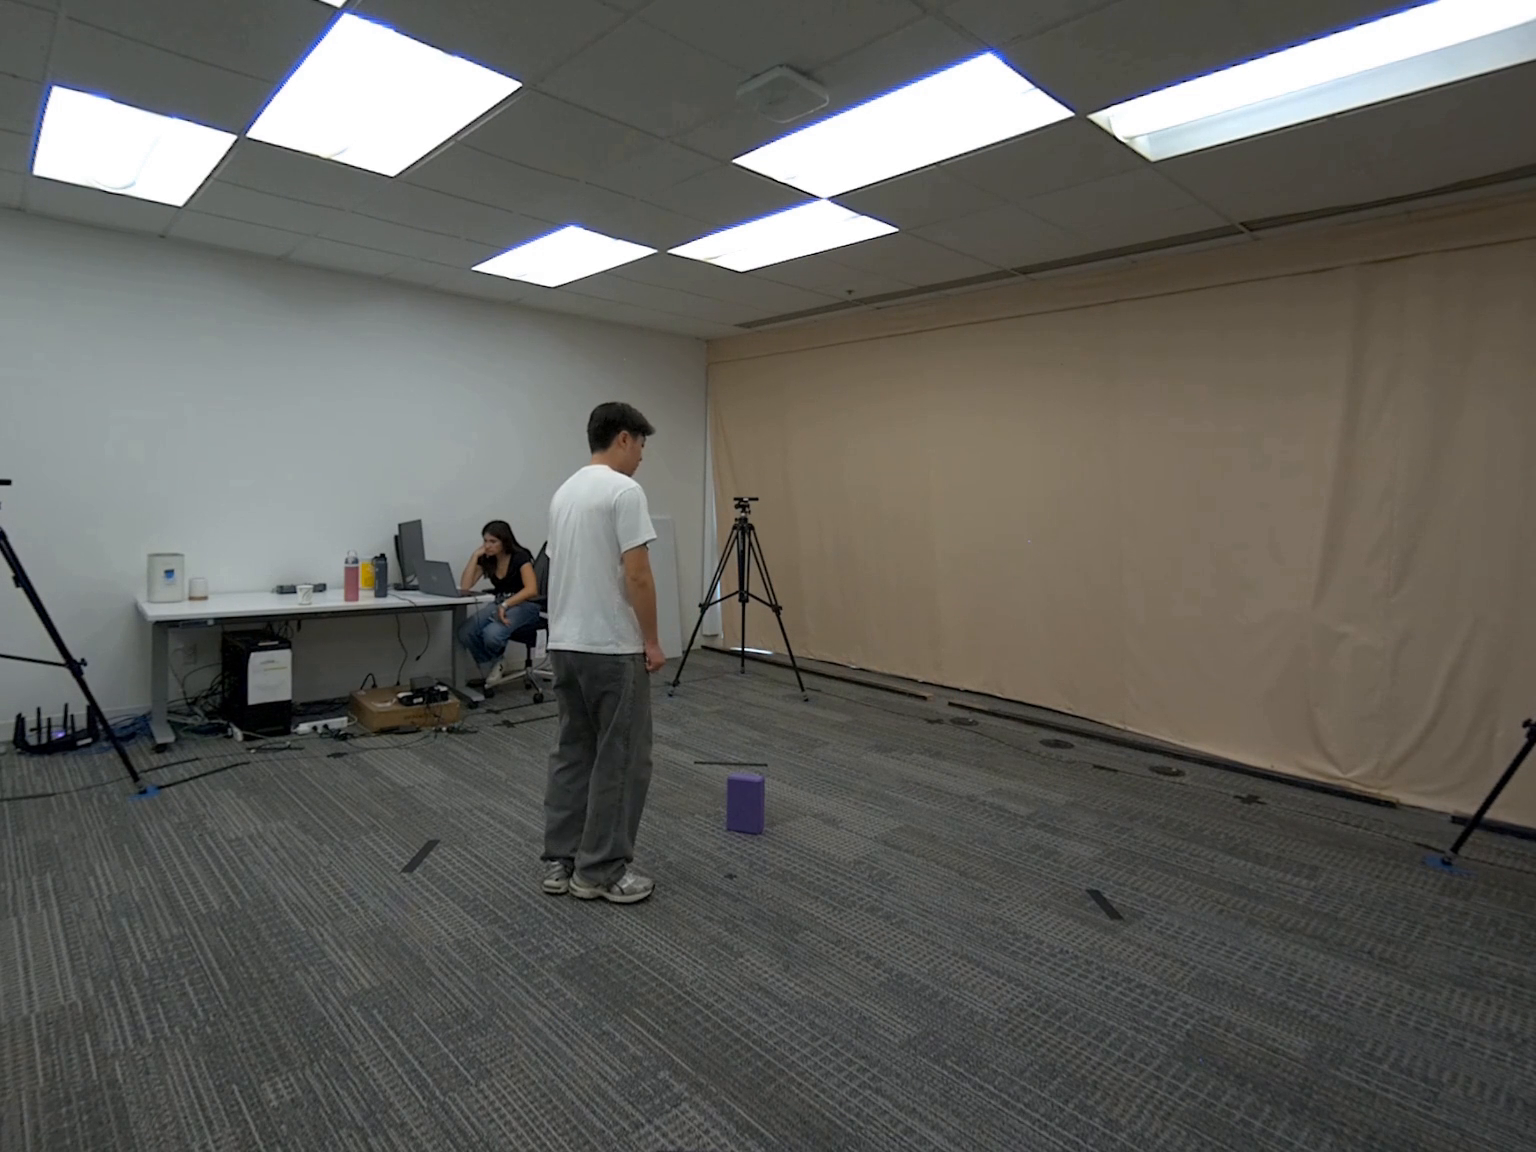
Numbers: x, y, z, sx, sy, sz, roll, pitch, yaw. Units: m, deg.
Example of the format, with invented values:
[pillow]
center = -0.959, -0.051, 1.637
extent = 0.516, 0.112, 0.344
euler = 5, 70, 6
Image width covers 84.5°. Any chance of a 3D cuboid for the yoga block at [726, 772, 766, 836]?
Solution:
[yoga block]
center = -0.103, 0.958, 3.540
extent = 0.151, 0.229, 0.075
euler = 3, 3, 17
